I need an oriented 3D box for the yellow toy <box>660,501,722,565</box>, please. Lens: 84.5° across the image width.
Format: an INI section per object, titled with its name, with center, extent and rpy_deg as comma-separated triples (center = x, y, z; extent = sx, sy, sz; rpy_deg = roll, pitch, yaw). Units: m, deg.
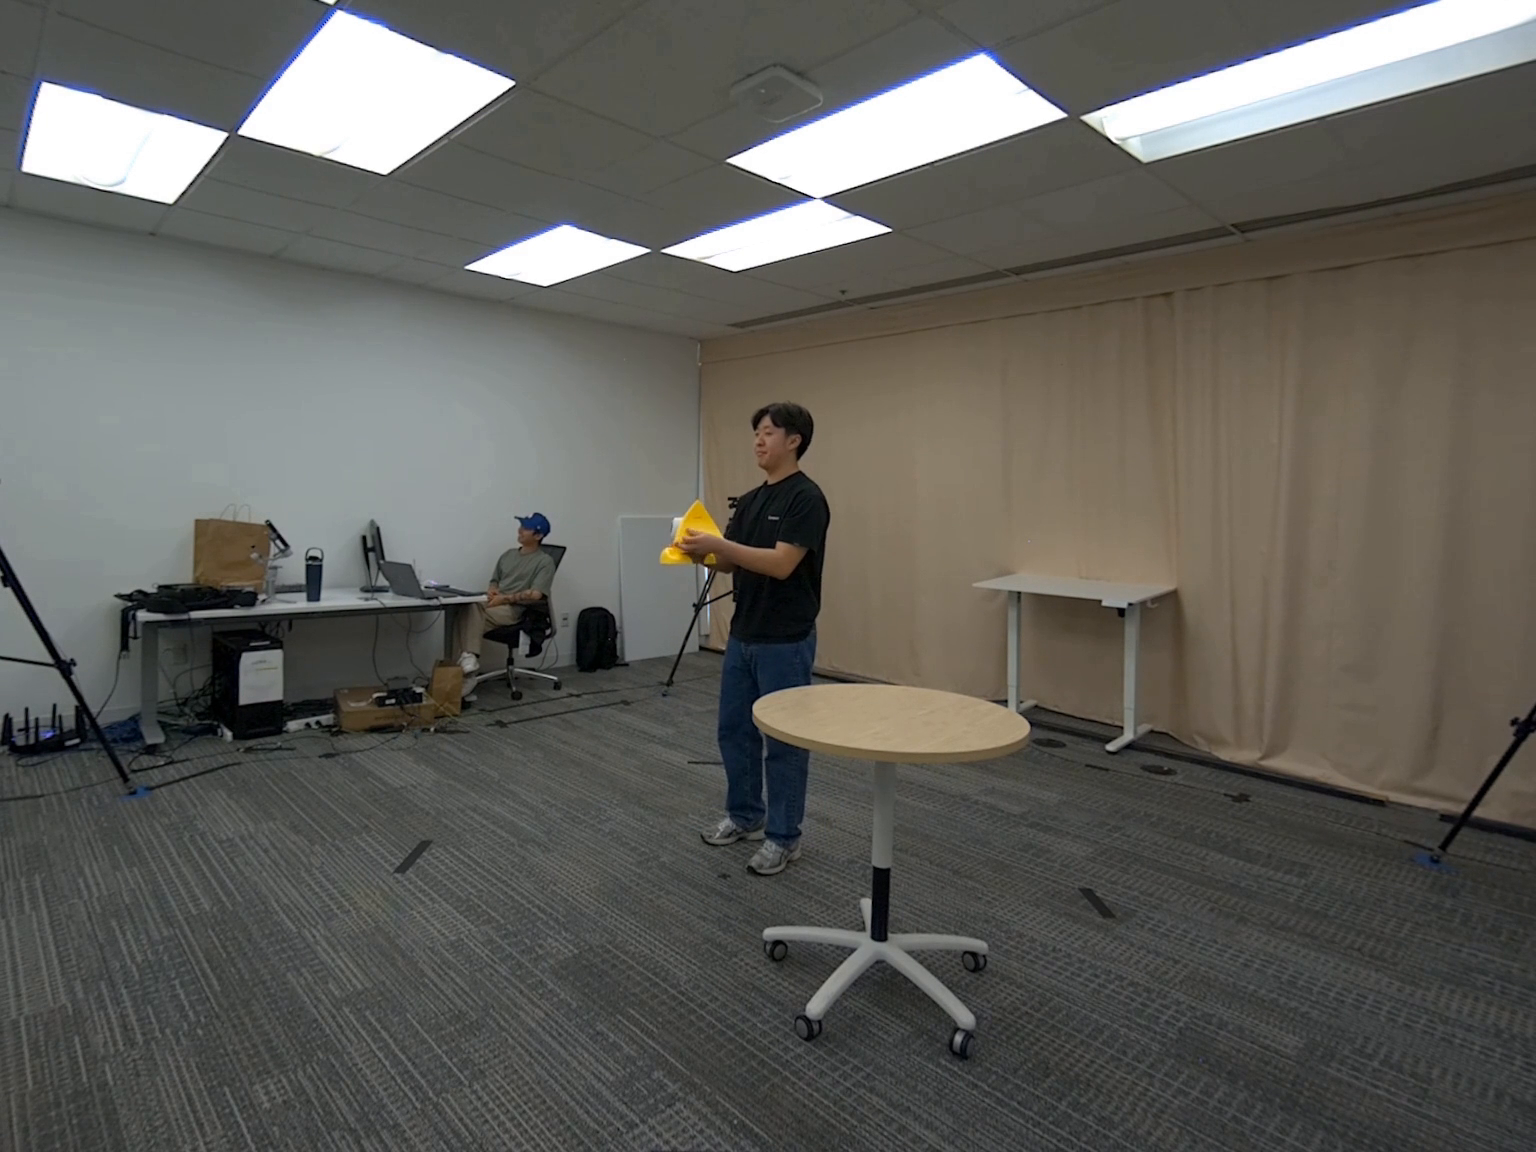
[yellow toy]
center = -0.290, -0.160, 3.077
extent = 0.200, 0.230, 0.197
rpy_deg = -2, 2, -35
